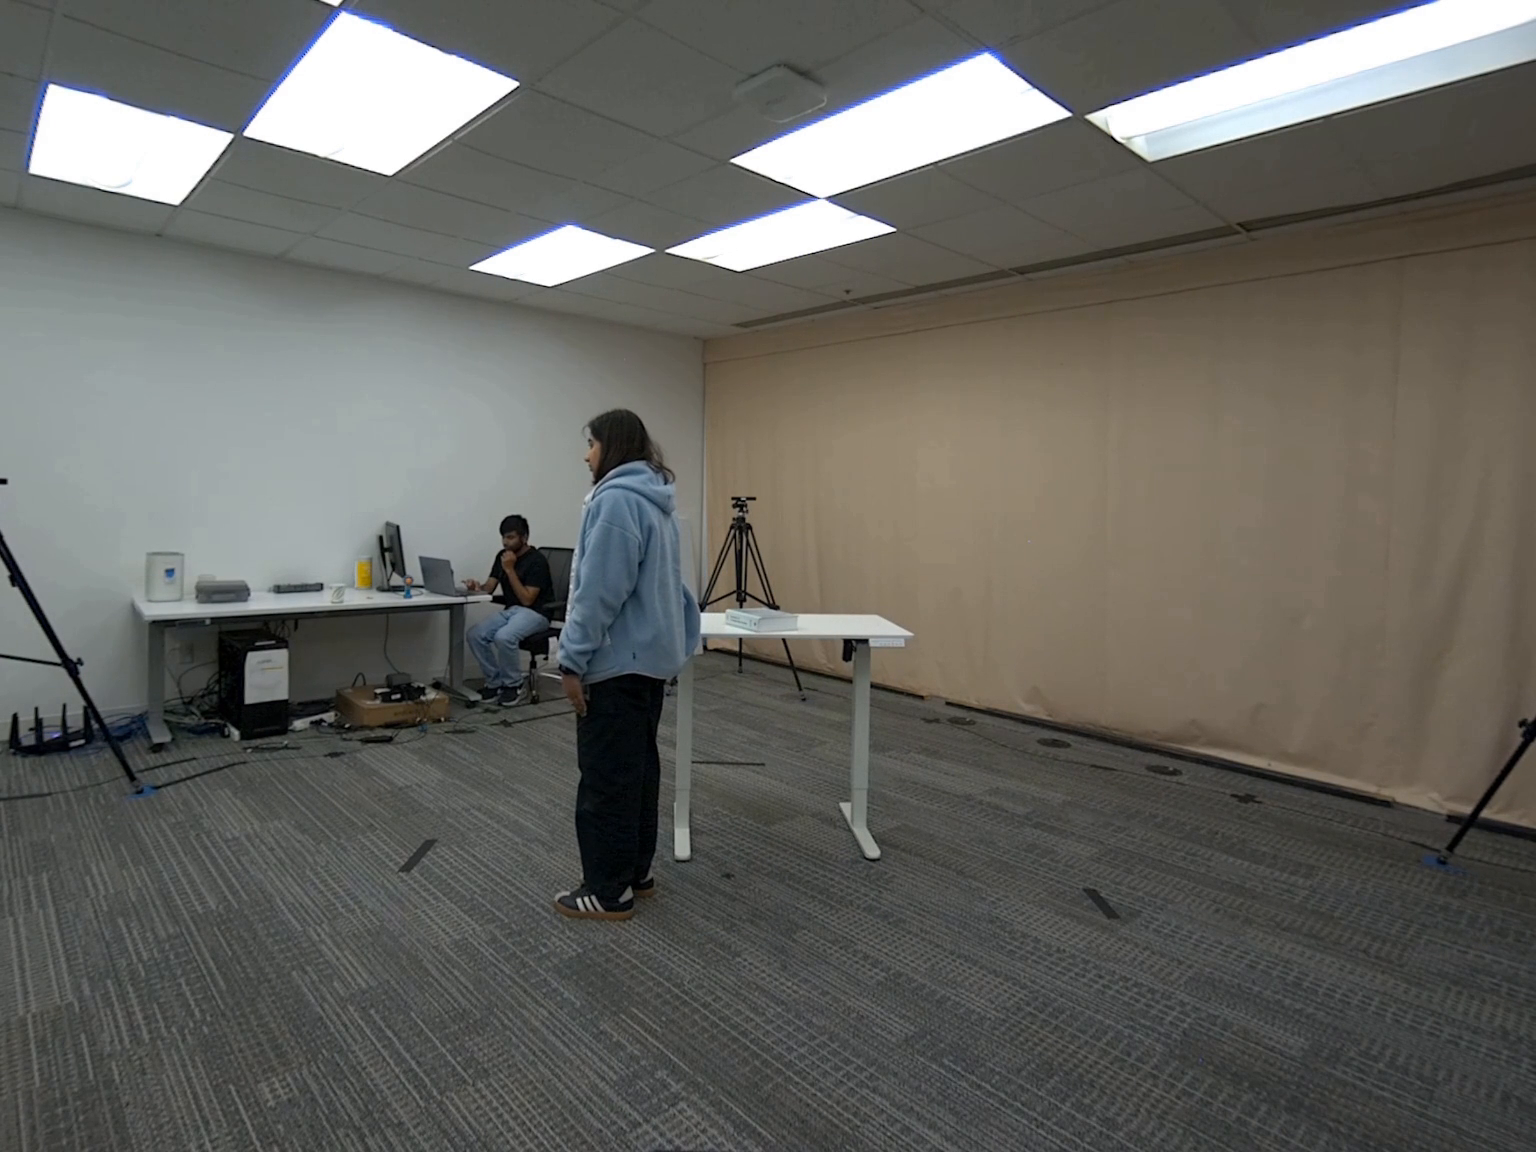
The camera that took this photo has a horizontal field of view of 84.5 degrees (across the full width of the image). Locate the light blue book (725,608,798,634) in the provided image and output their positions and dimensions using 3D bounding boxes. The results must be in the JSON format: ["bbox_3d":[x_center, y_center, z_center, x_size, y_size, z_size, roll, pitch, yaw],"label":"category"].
[{"bbox_3d":[-0.037,0.175,3.386,0.187,0.059,0.267,-2,6,-31],"label":"light blue book"}]
